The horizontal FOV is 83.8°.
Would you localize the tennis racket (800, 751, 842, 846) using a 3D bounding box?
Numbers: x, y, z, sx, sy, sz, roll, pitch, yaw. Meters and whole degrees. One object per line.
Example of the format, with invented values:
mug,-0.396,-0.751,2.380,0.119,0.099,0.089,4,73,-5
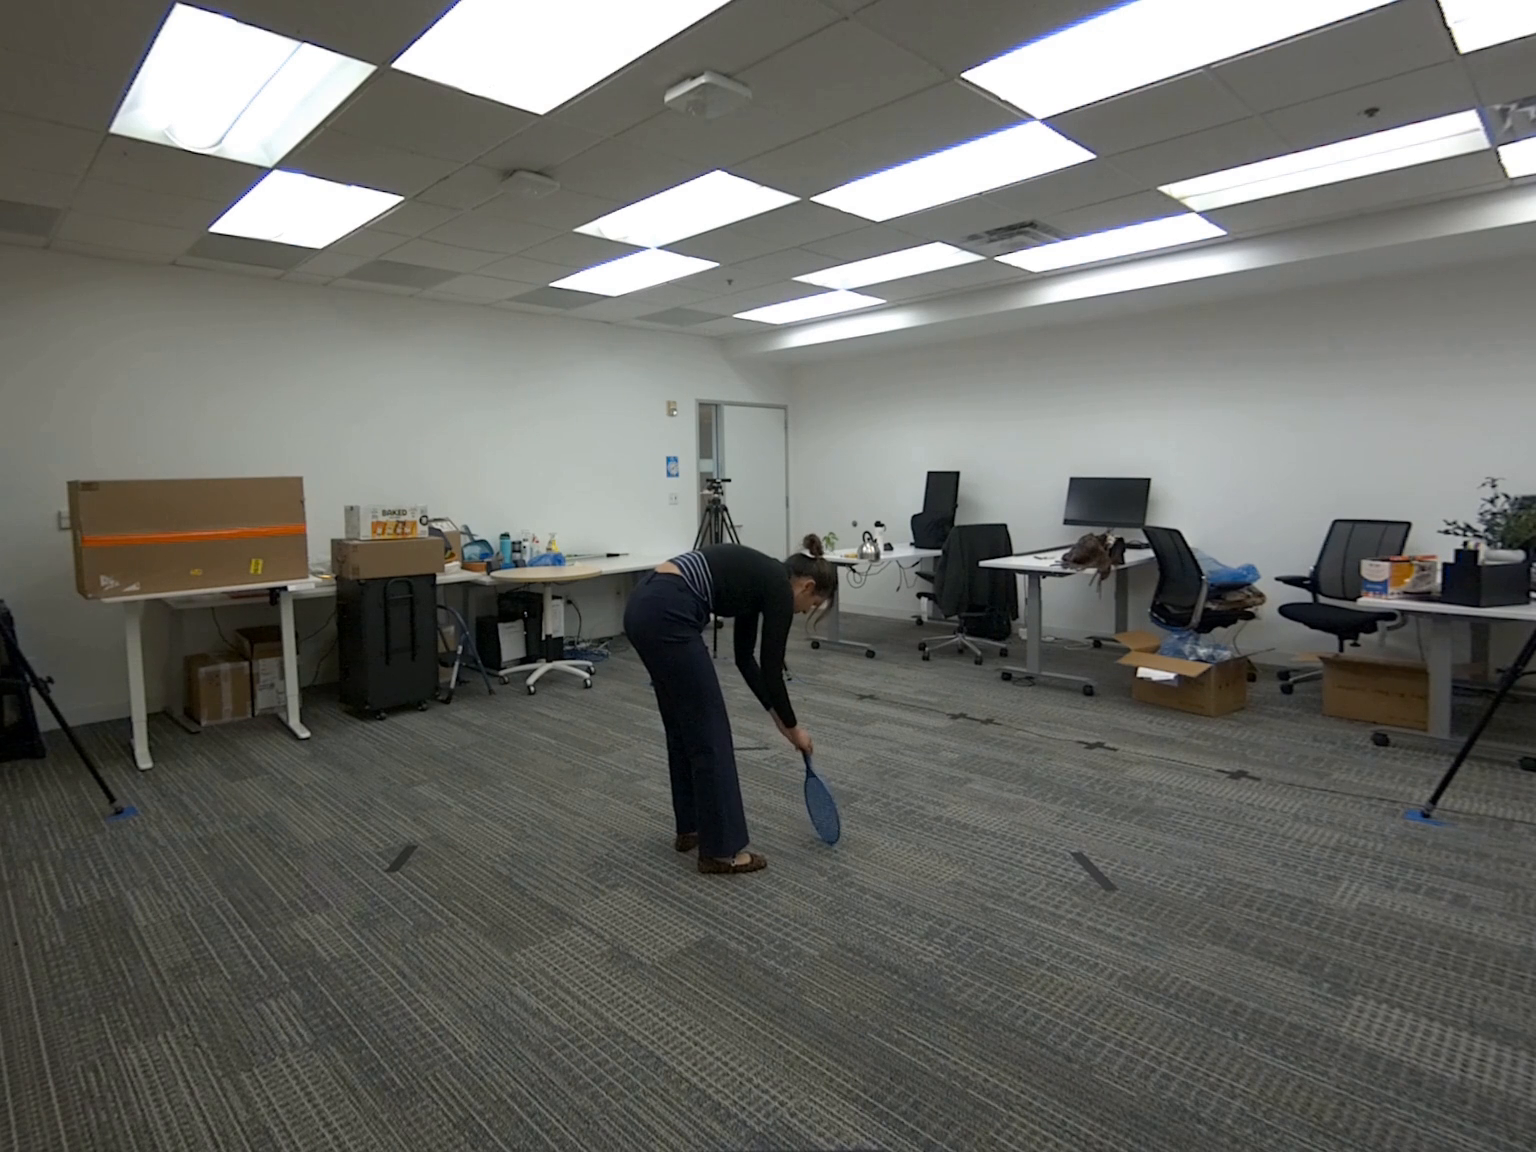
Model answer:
tennis racket,0.175,0.805,3.277,0.031,0.436,0.216,-12,-7,-29
